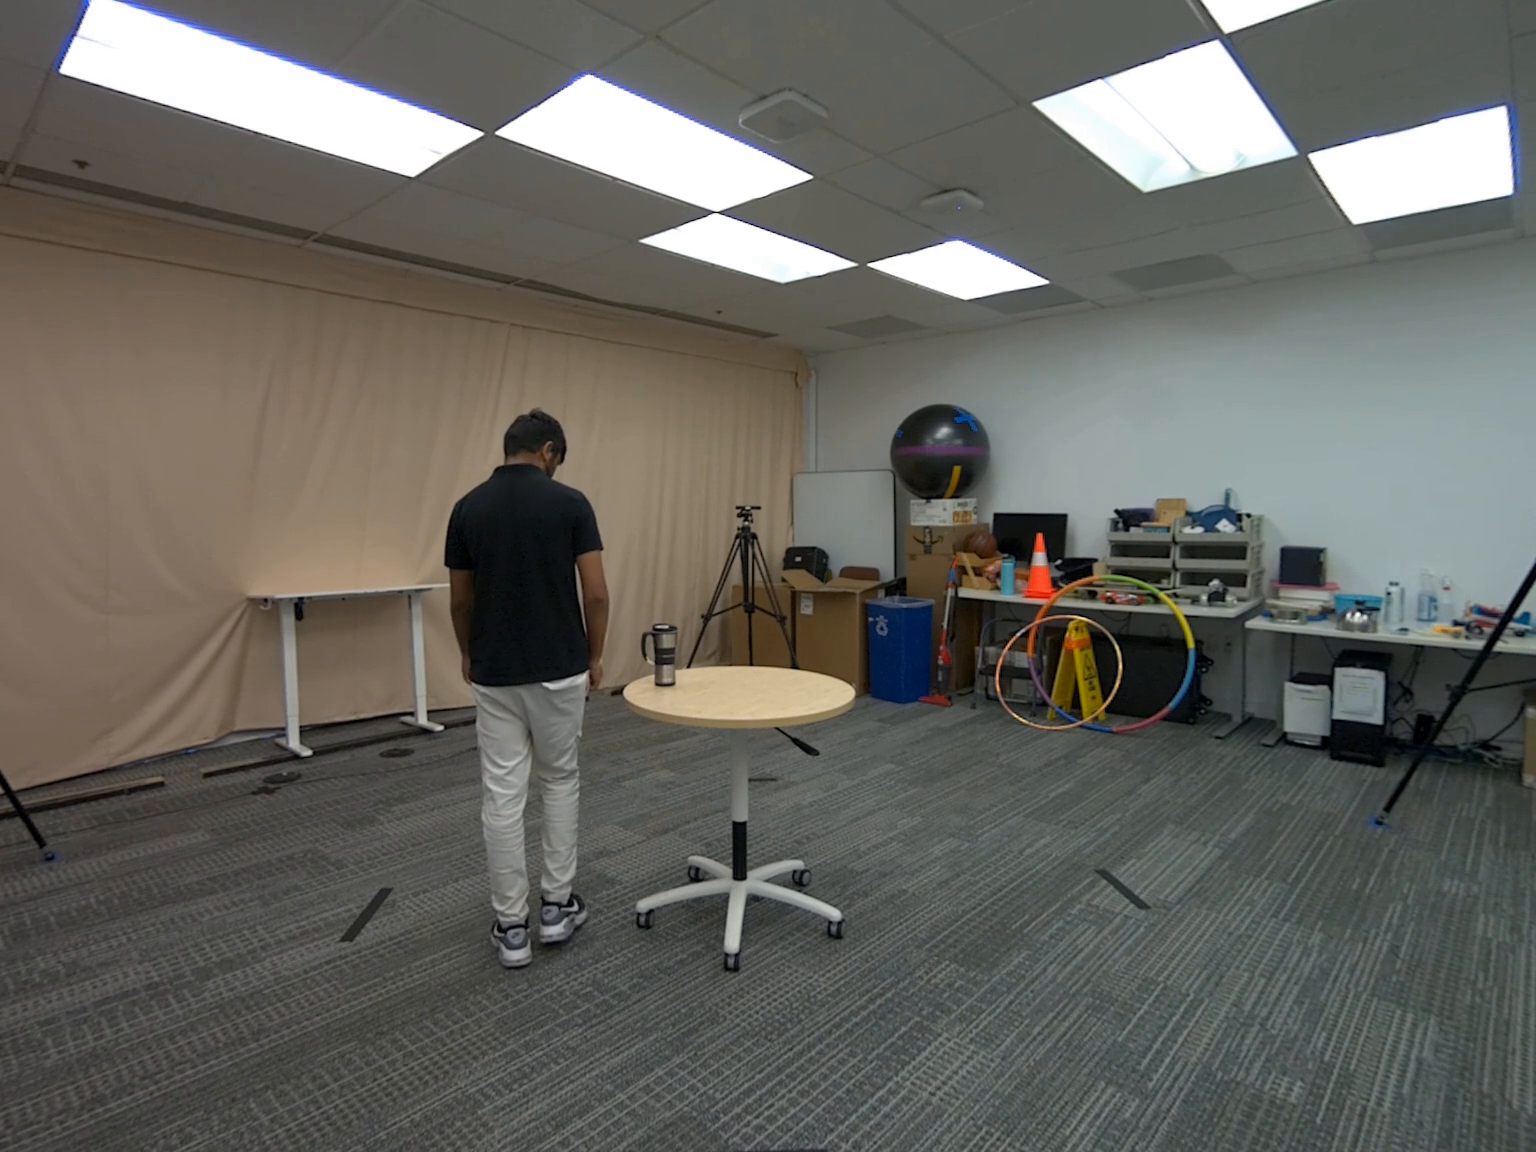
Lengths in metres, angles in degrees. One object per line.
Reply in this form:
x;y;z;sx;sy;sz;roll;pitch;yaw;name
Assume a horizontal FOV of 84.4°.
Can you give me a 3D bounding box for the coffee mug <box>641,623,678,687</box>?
-0.369;0.271;2.875;0.125;0.202;0.086;4;7;22;coffee mug
